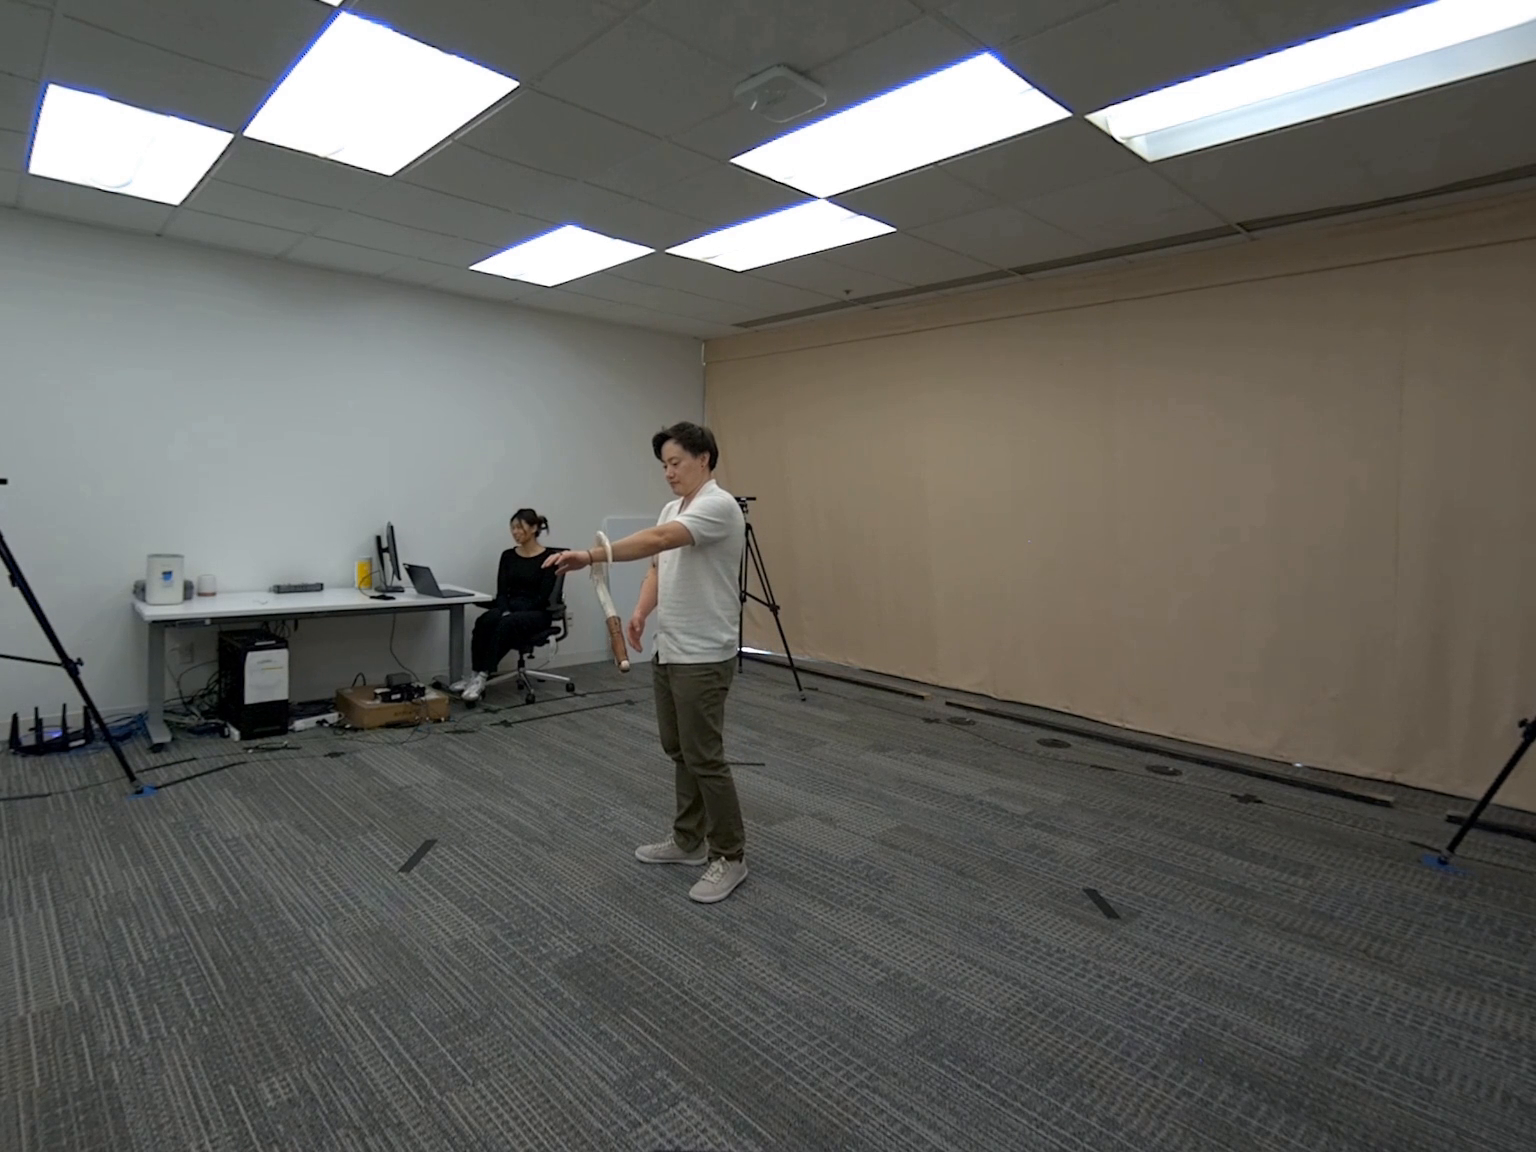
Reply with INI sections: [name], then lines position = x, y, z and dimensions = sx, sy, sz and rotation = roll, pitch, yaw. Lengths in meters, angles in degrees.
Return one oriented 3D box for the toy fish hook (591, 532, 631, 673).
[toy fish hook]
position = -0.521, 0.076, 2.708
dimensions = 0.048, 0.520, 0.221
rotation = -7, -37, -19
